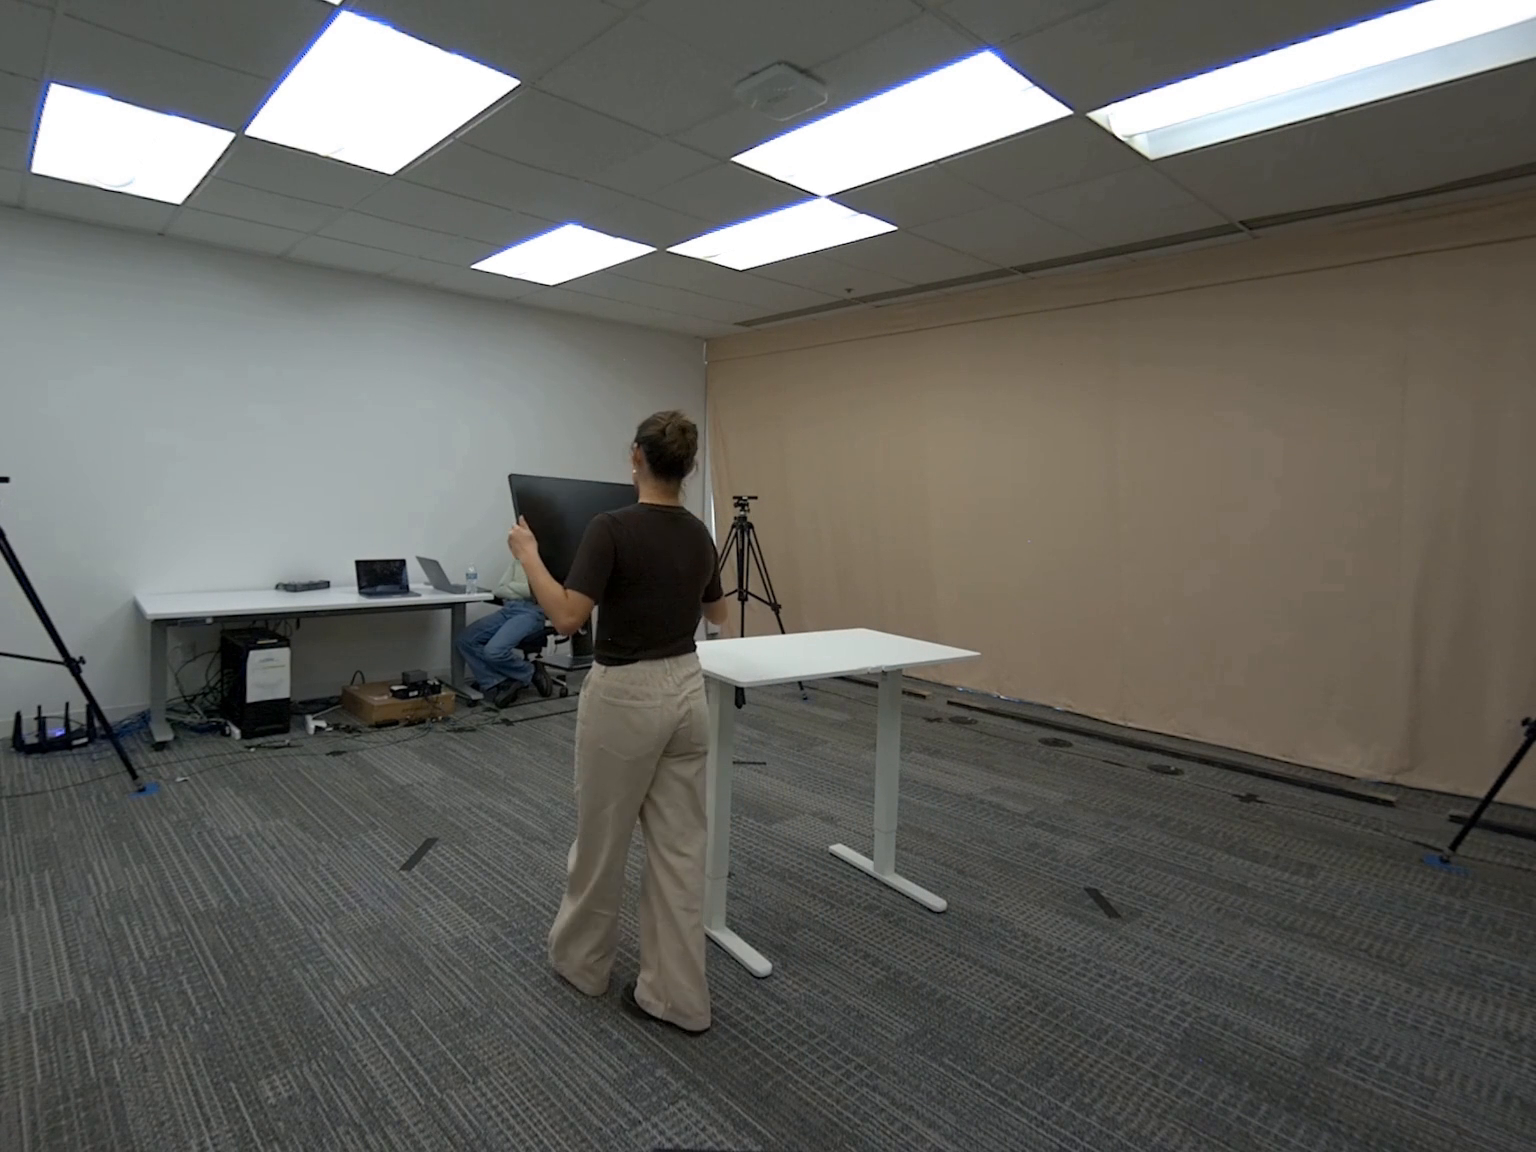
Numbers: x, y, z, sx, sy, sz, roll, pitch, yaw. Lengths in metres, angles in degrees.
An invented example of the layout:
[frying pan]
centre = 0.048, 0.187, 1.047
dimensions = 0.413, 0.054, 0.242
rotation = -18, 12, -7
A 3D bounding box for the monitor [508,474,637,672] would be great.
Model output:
[monitor]
centre = -0.505, -0.012, 2.387
dimensions = 0.191, 0.523, 0.527
rotation = 0, 0, 34
